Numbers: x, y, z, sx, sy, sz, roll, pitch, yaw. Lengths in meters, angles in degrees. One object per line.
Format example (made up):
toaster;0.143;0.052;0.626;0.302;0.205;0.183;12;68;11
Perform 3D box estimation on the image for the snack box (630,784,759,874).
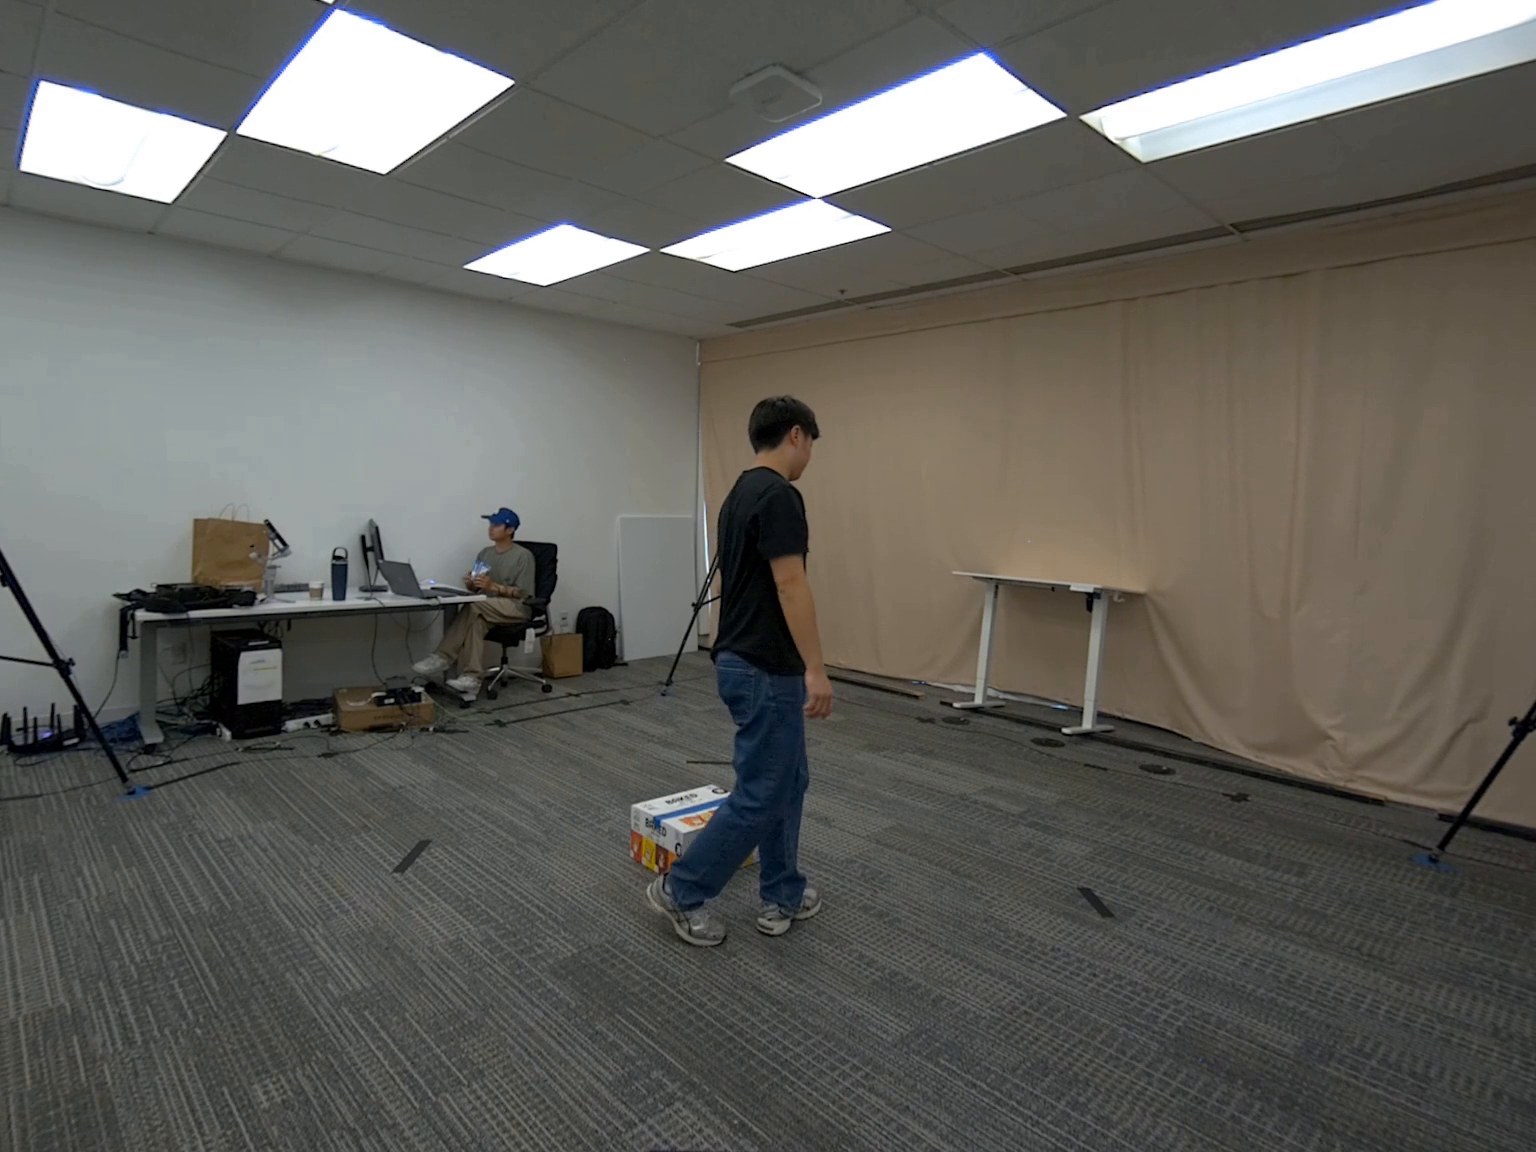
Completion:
snack box;-0.271;0.992;3.238;0.396;0.205;0.349;-3;7;-41
